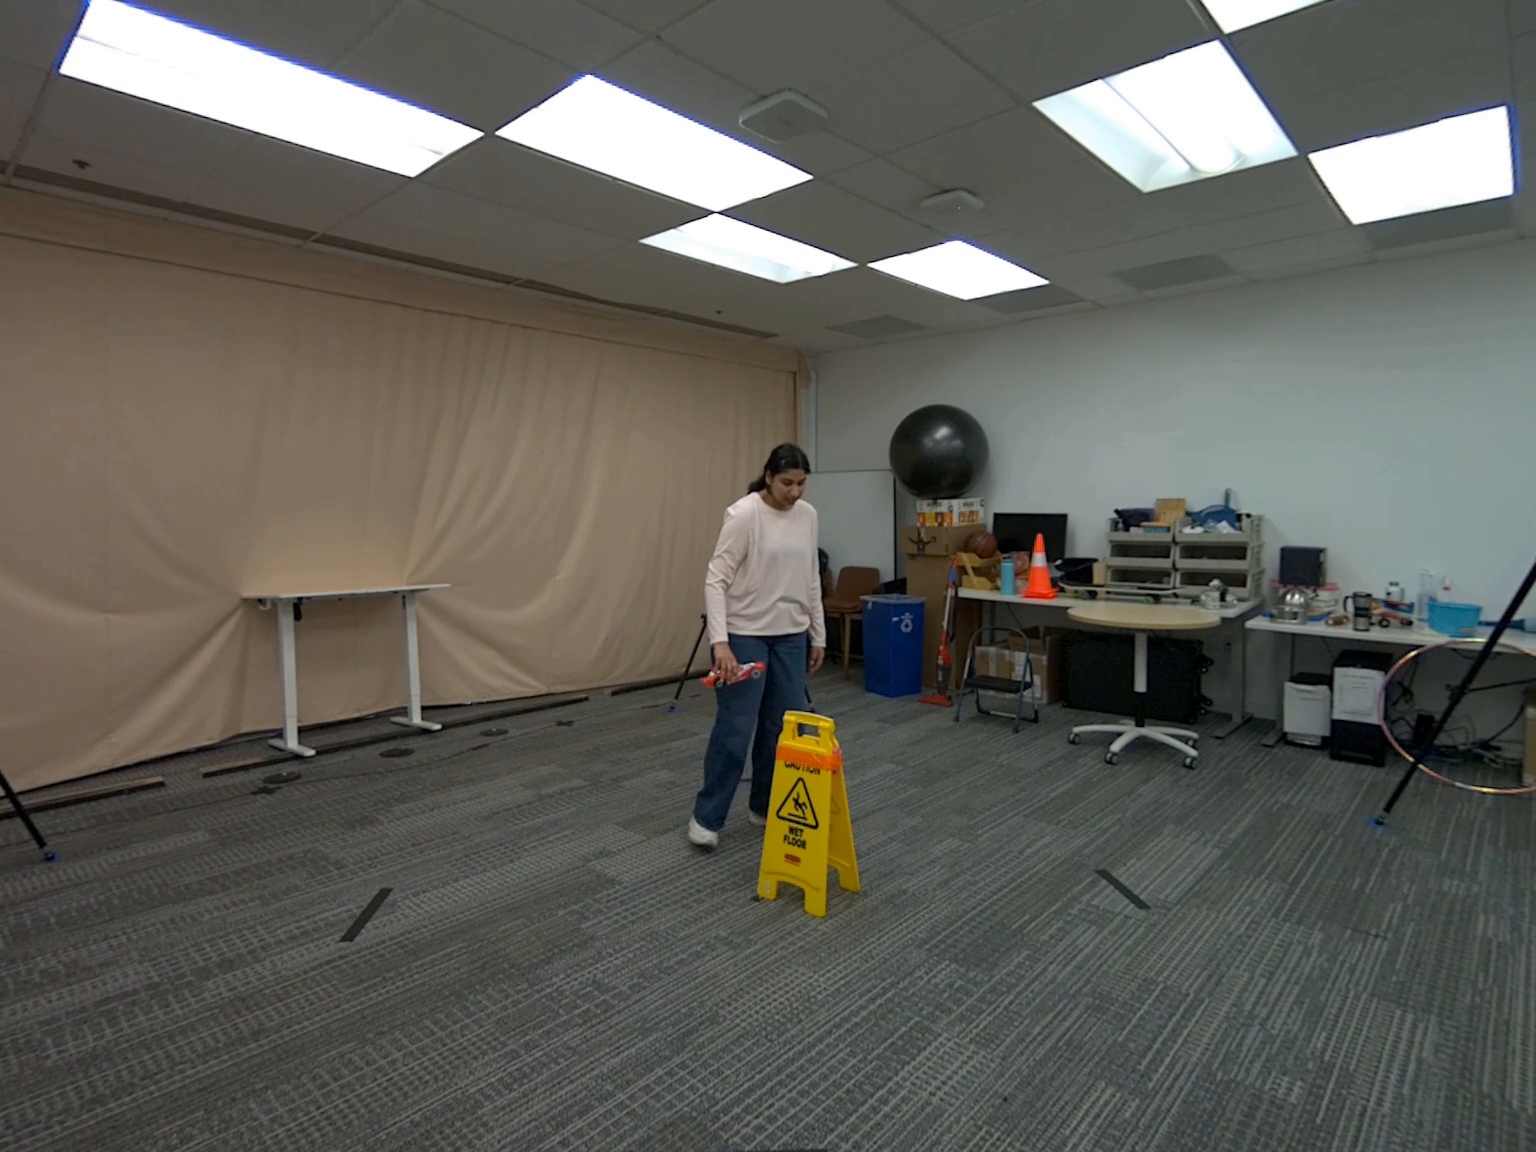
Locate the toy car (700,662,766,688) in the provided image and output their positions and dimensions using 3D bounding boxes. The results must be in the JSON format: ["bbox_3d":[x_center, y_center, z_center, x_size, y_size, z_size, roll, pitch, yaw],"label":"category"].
[{"bbox_3d":[-0.146,0.394,3.284,0.256,0.083,0.130,-9,2,4],"label":"toy car"}]
